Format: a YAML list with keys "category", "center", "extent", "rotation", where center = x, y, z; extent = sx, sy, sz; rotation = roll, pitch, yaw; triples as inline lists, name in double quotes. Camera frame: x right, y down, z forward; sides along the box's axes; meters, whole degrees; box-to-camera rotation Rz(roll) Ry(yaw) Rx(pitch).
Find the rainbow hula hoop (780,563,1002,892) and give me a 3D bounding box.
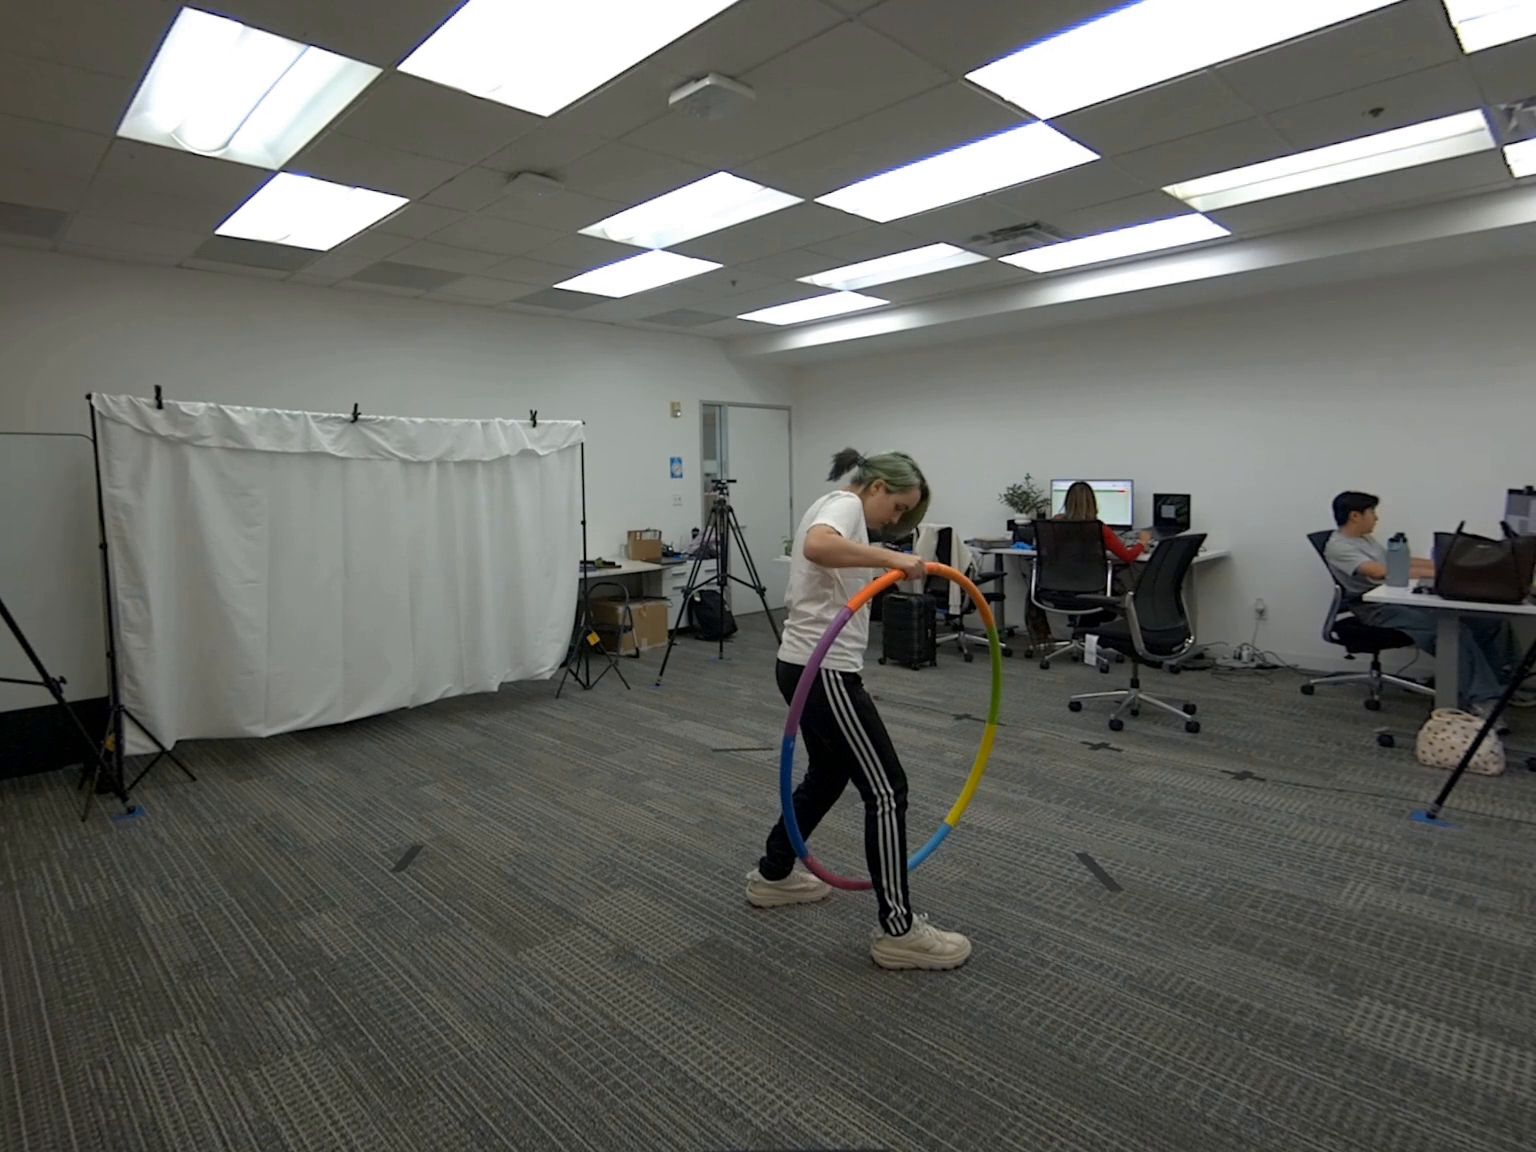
- category: "rainbow hula hoop"
  center: [0.406, 0.449, 2.536]
  extent: [0.953, 0.971, 0.037]
  rotation: [-5, 12, -40]
